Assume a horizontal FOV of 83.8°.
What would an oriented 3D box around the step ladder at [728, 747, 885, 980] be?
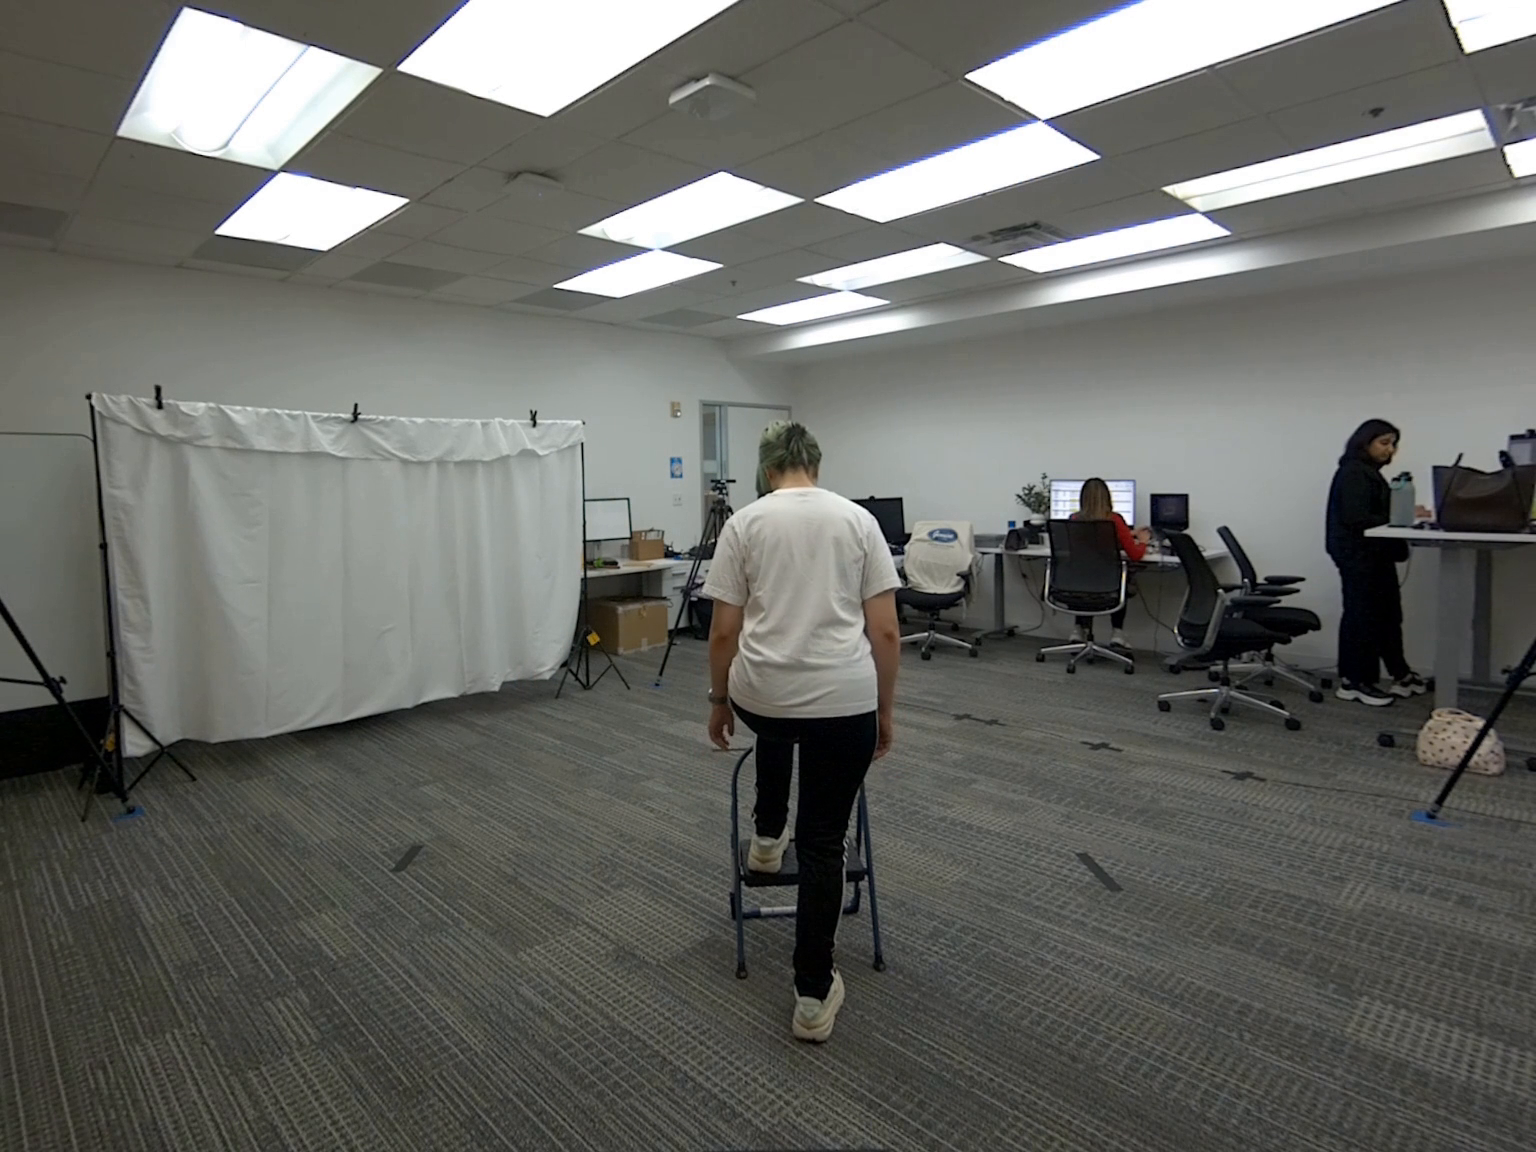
[{"bbox_3d":[0.105,0.809,2.563,0.429,0.603,0.352,-2,5,-5],"label":"step ladder"}]
